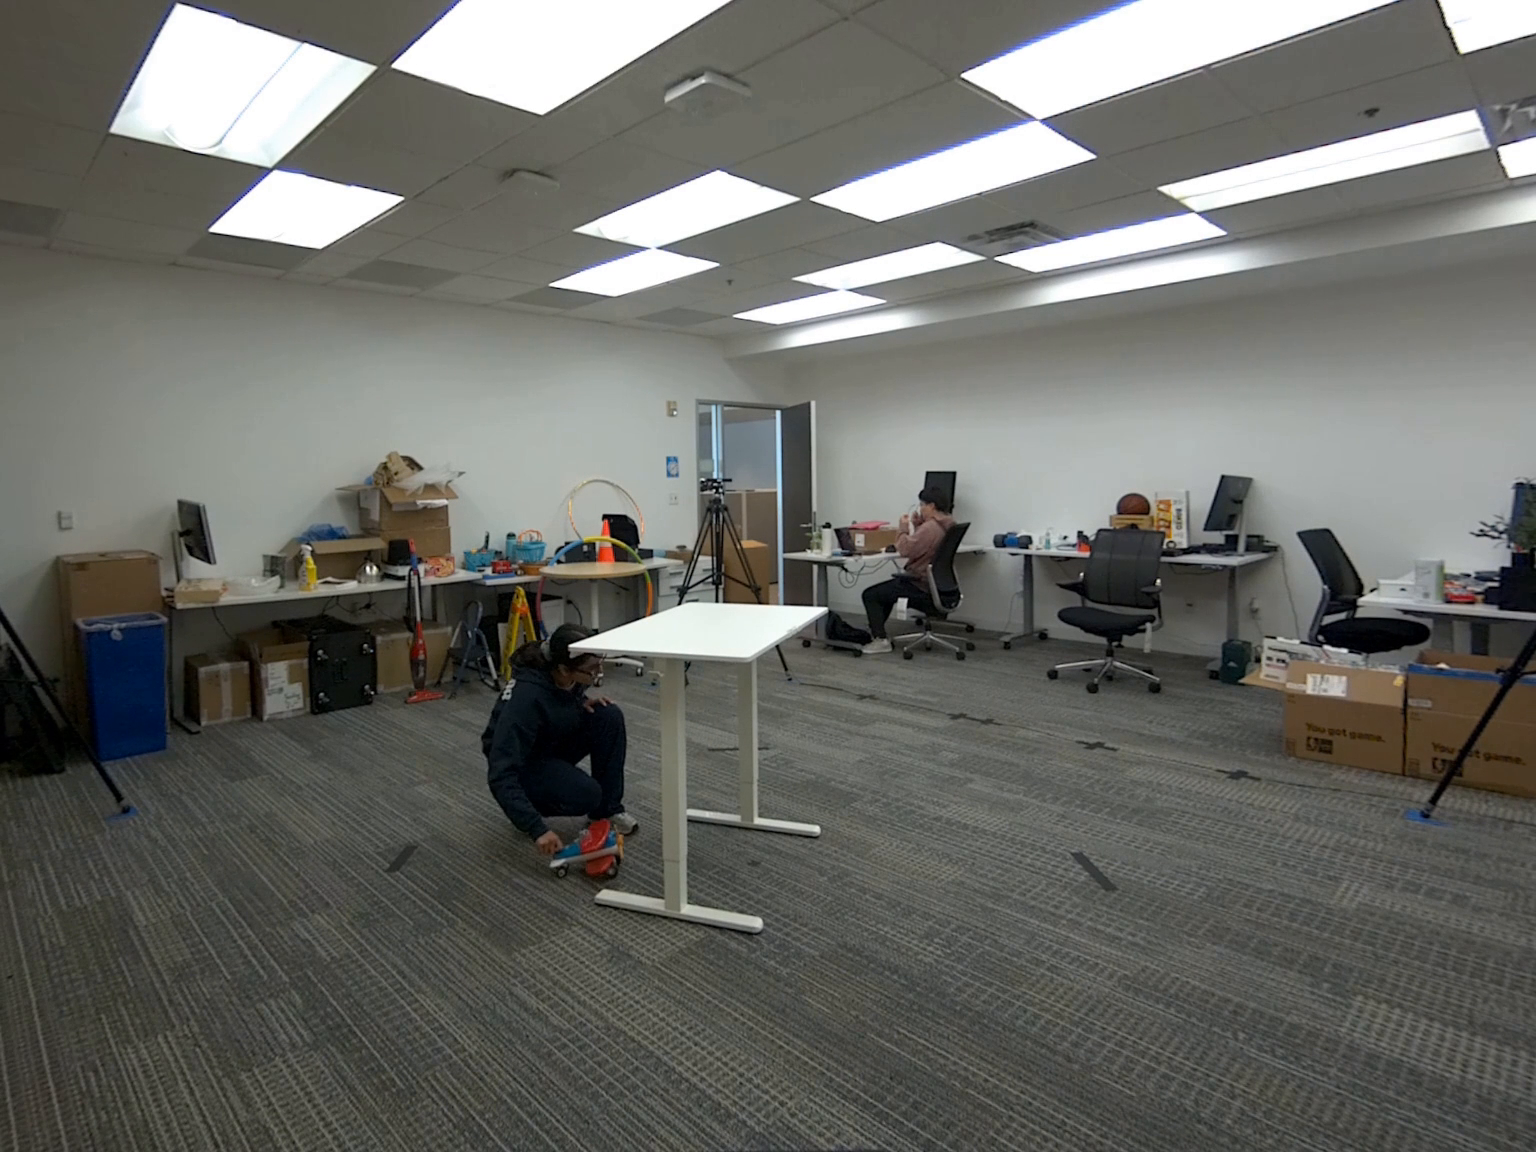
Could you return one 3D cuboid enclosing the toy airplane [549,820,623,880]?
[{"bbox_3d":[-0.642,0.990,3.008,0.253,0.156,0.258,-4,6,-28],"label":"toy airplane"}]
